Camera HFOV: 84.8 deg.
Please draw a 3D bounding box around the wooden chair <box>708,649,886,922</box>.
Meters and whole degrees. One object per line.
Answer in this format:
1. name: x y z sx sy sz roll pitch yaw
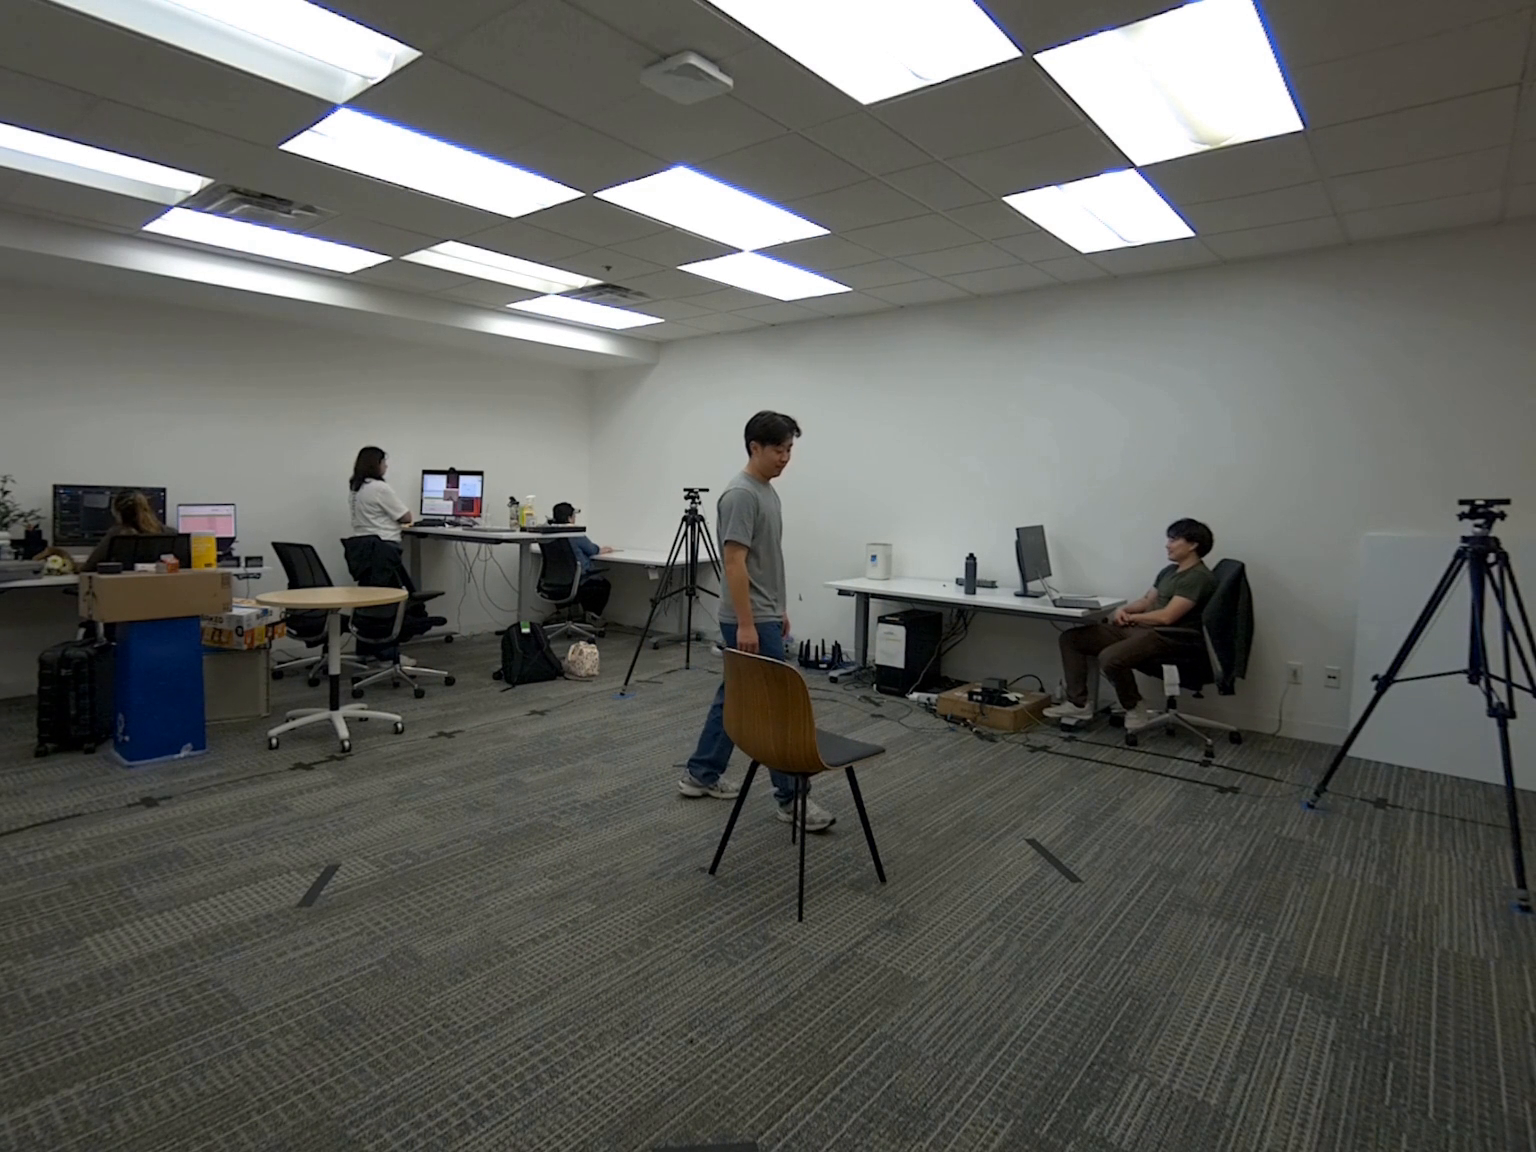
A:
1. wooden chair: 0.110 0.654 3.035 0.509 0.872 0.494 -8 8 -43
